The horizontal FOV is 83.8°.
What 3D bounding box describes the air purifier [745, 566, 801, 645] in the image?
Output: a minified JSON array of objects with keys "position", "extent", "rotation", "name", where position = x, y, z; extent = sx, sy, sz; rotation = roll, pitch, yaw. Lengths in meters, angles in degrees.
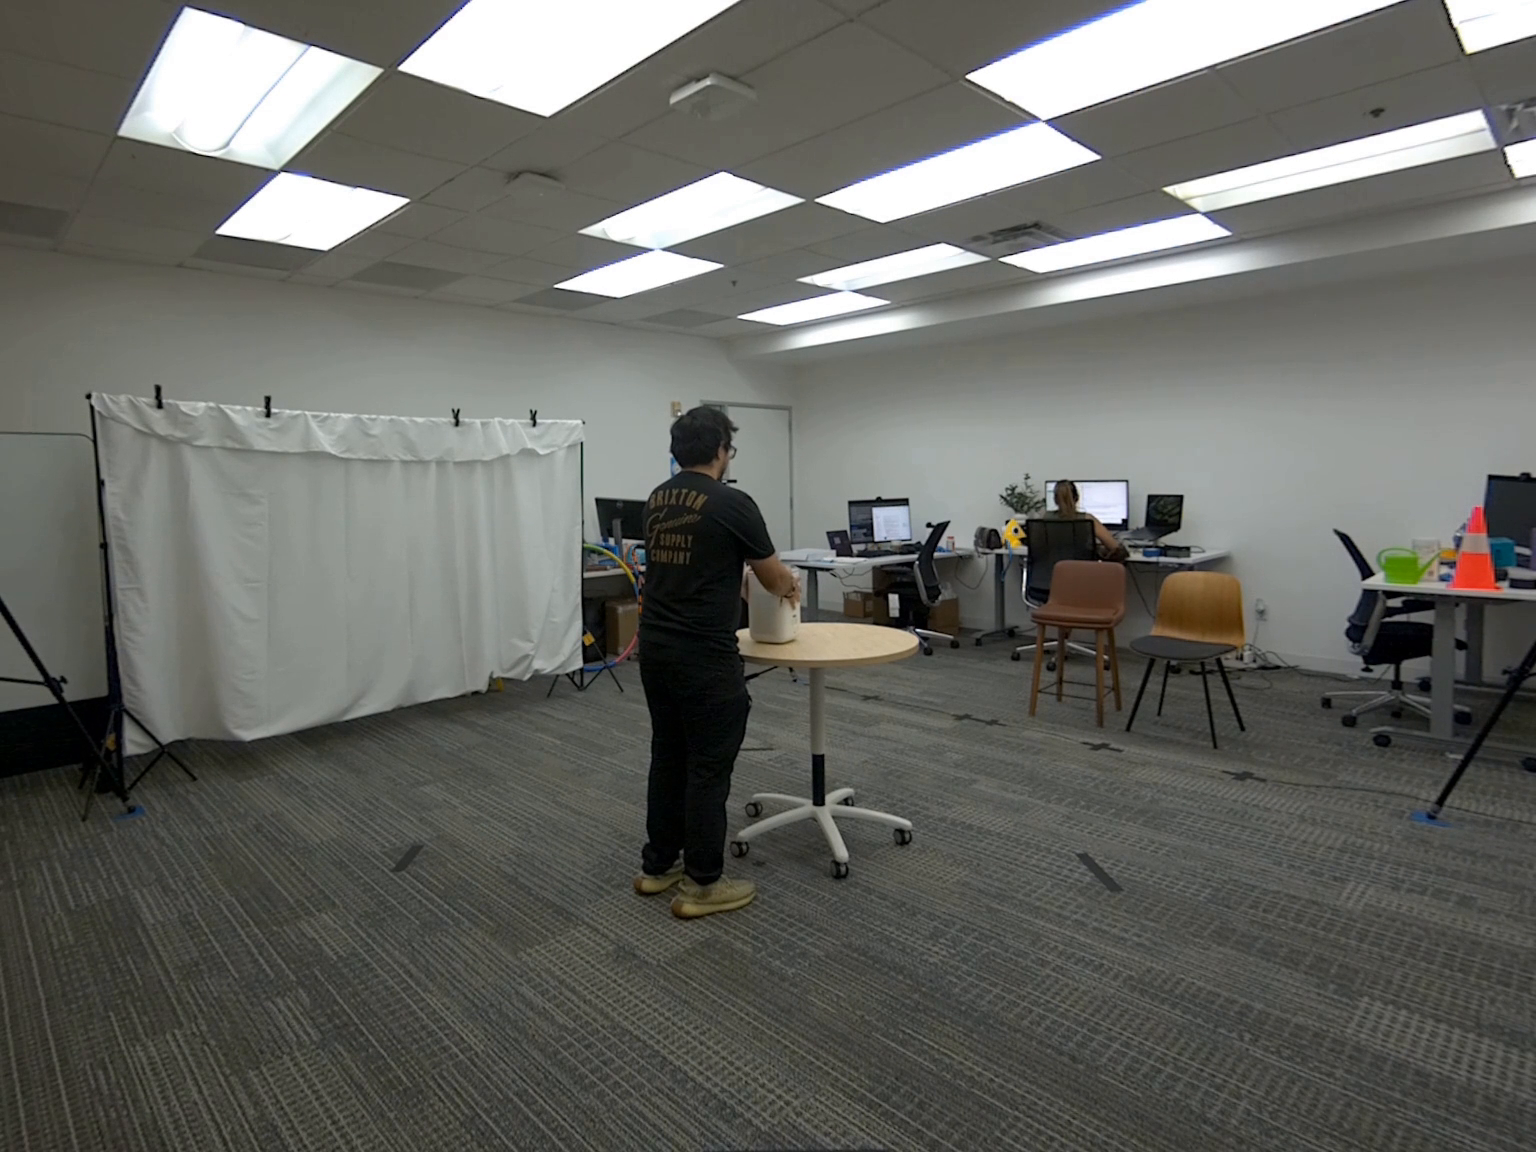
[{"position":[0.027,0.112,3.245],"extent":[0.176,0.264,0.167],"rotation":[3,7,30],"name":"air purifier"}]
